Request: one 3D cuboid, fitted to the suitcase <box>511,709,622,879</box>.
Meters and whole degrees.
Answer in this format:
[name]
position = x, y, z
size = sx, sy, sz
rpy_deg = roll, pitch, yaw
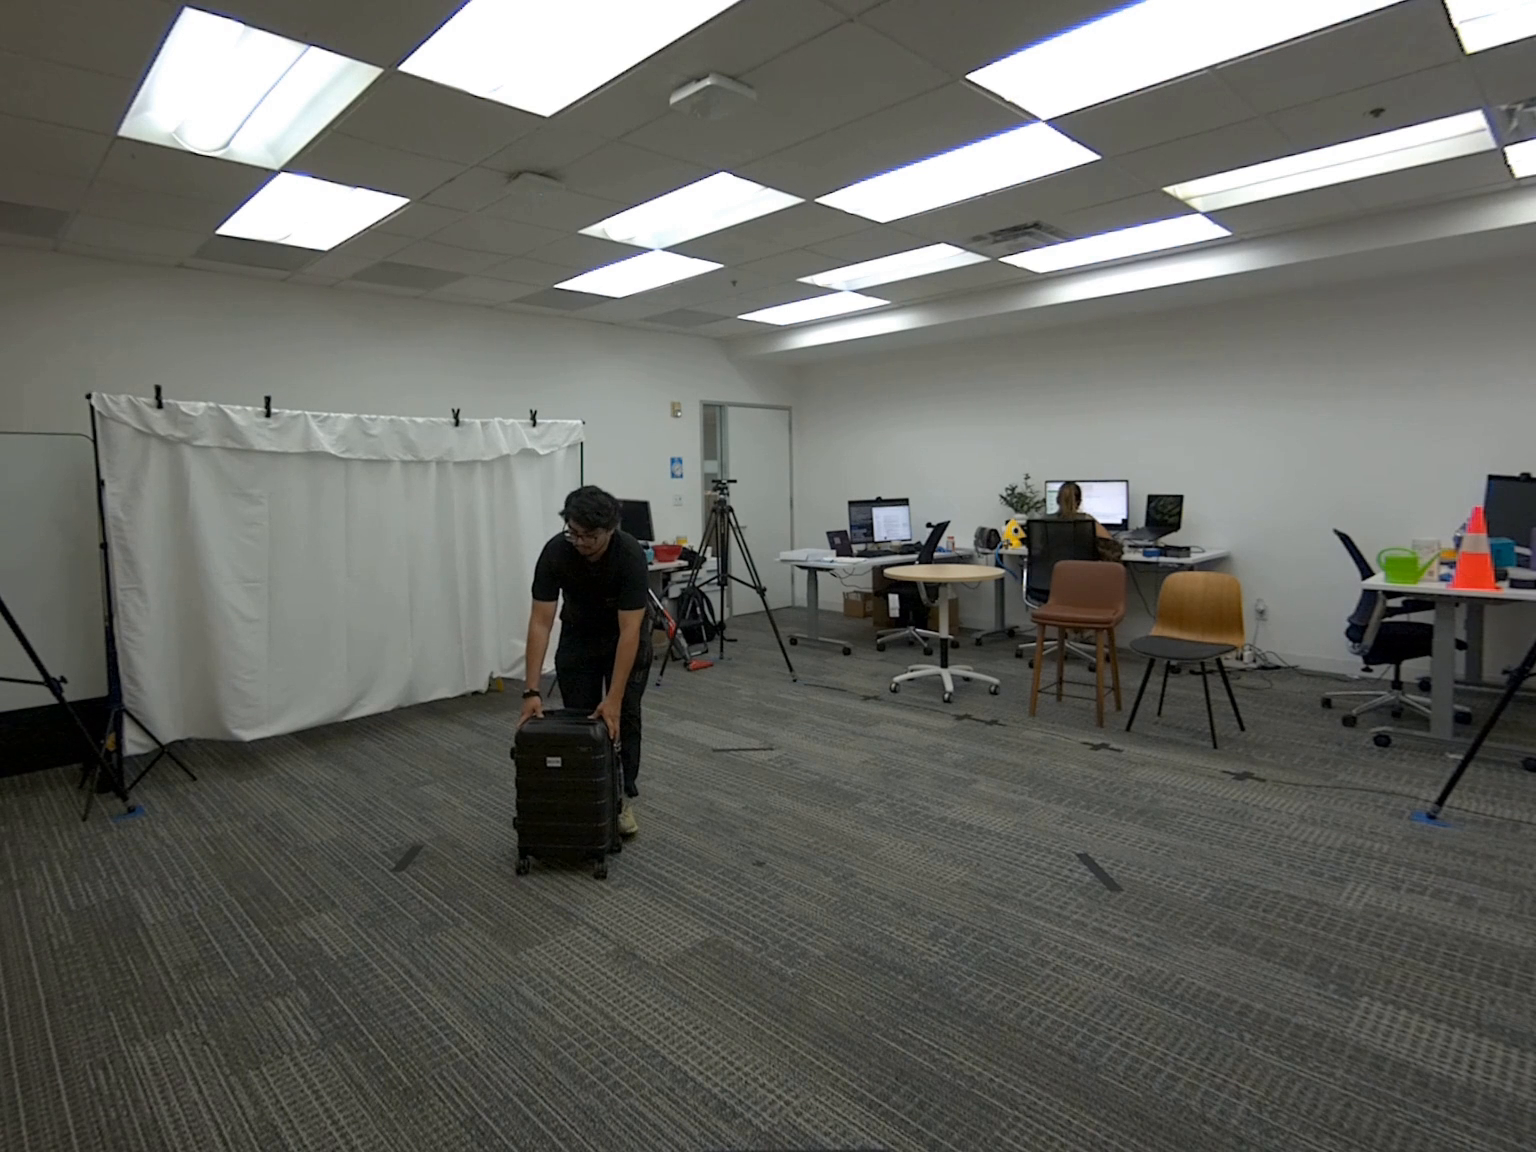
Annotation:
[suitcase]
position = -0.741, 0.783, 3.161
size = 0.378, 0.548, 0.247
rpy_deg = -1, 2, 7
